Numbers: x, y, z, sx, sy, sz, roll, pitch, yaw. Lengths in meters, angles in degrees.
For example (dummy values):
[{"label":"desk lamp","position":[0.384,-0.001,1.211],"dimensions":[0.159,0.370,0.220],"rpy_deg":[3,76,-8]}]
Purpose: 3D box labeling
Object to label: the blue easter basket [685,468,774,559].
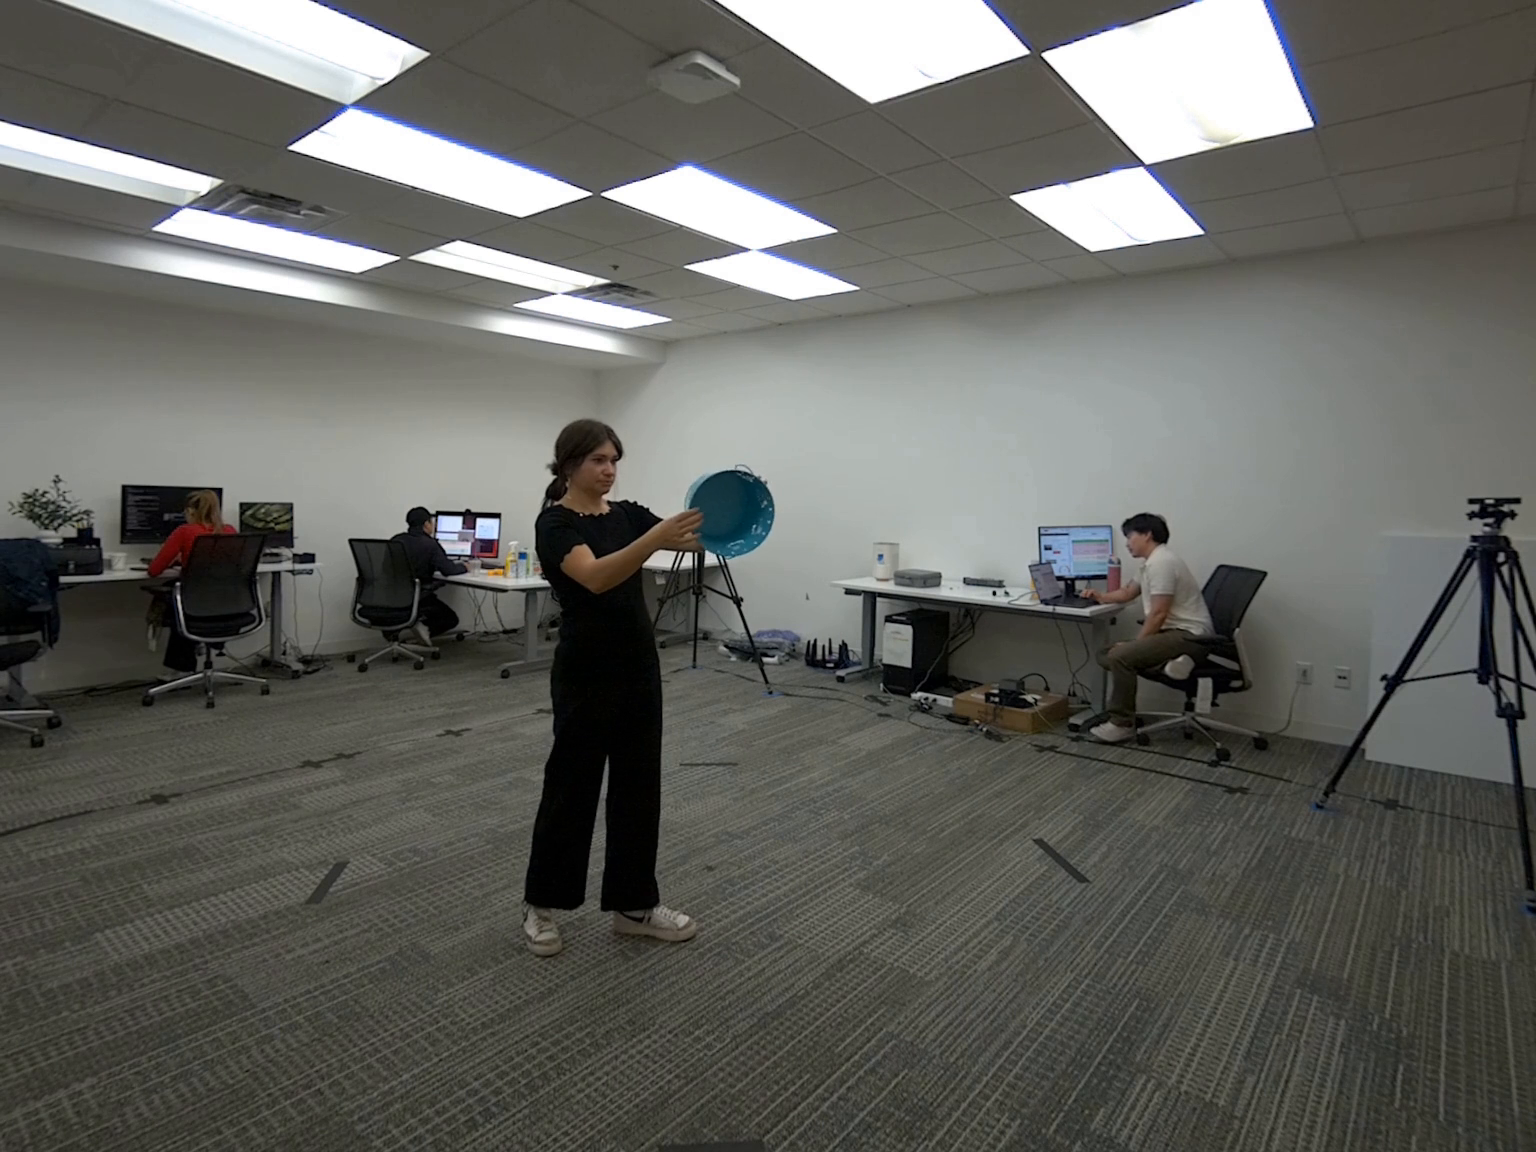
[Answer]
[{"label":"blue easter basket","position":[-0.125,-0.173,2.262],"dimensions":[0.239,0.241,0.160],"rpy_deg":[0,12,-18]}]
